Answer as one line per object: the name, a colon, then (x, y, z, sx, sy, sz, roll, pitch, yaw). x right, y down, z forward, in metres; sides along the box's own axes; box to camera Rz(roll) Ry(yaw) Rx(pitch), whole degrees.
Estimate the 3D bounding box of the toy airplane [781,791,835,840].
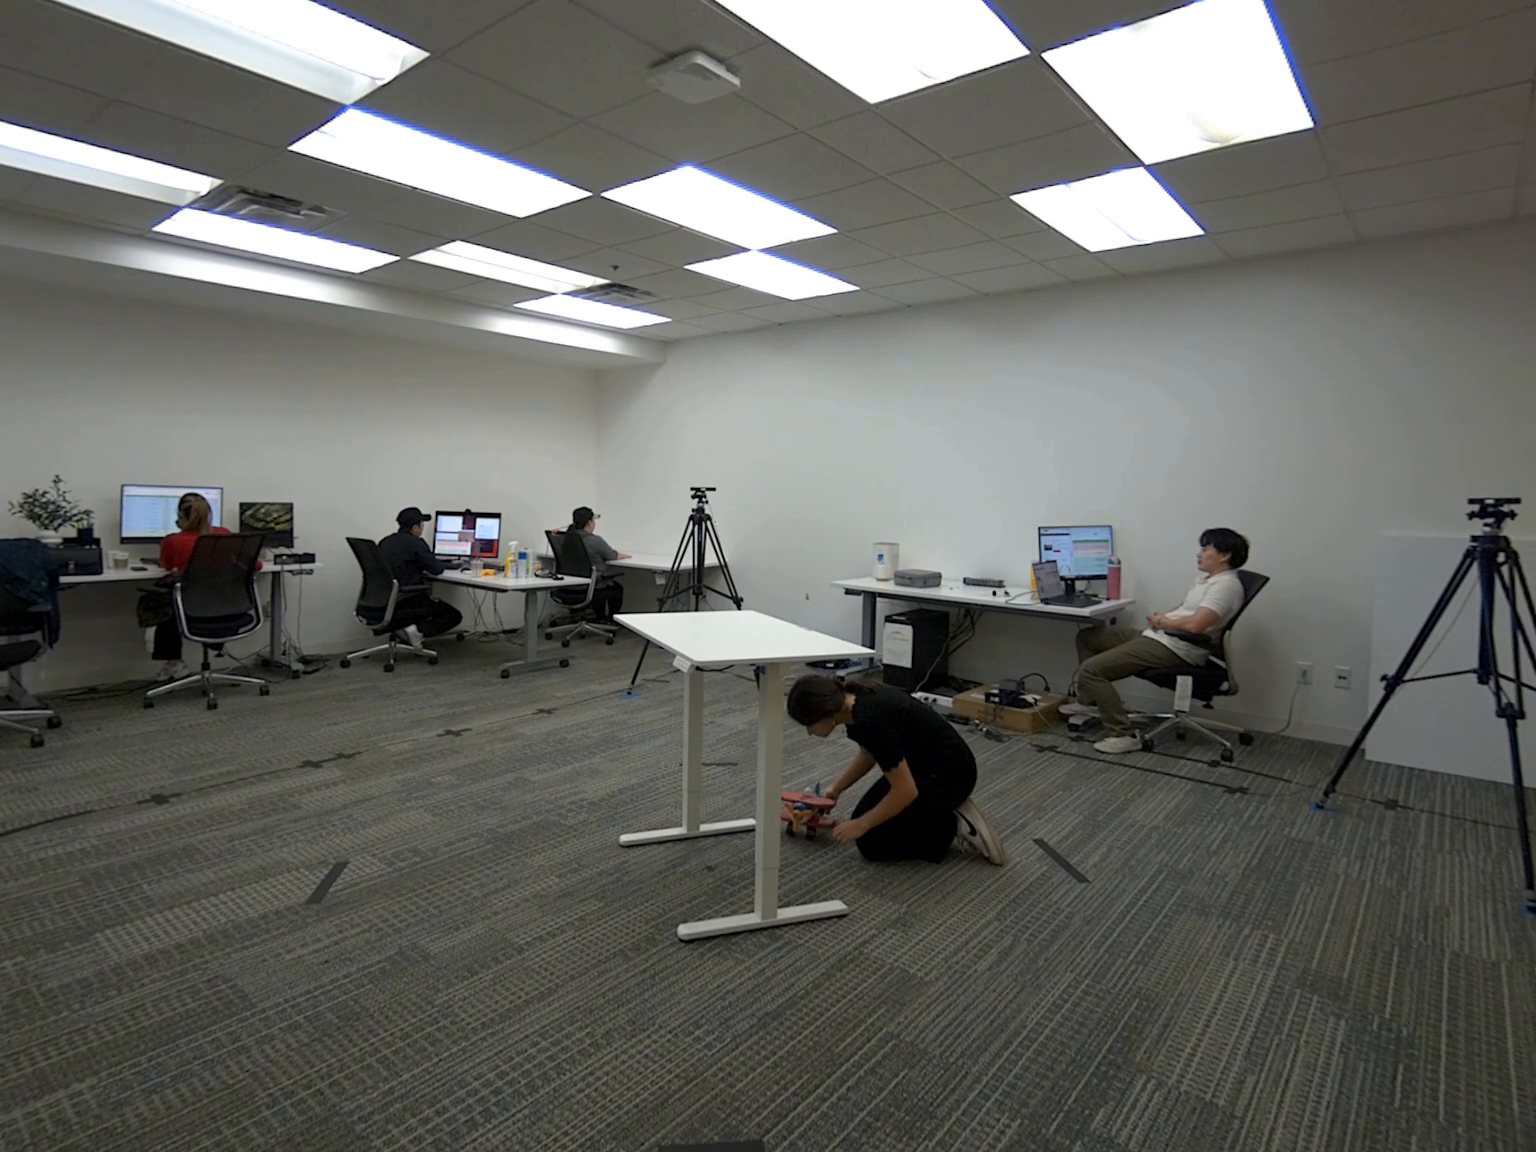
toy airplane: (0.141, 0.948, 3.485, 0.251, 0.154, 0.264, -5, 17, -1)
